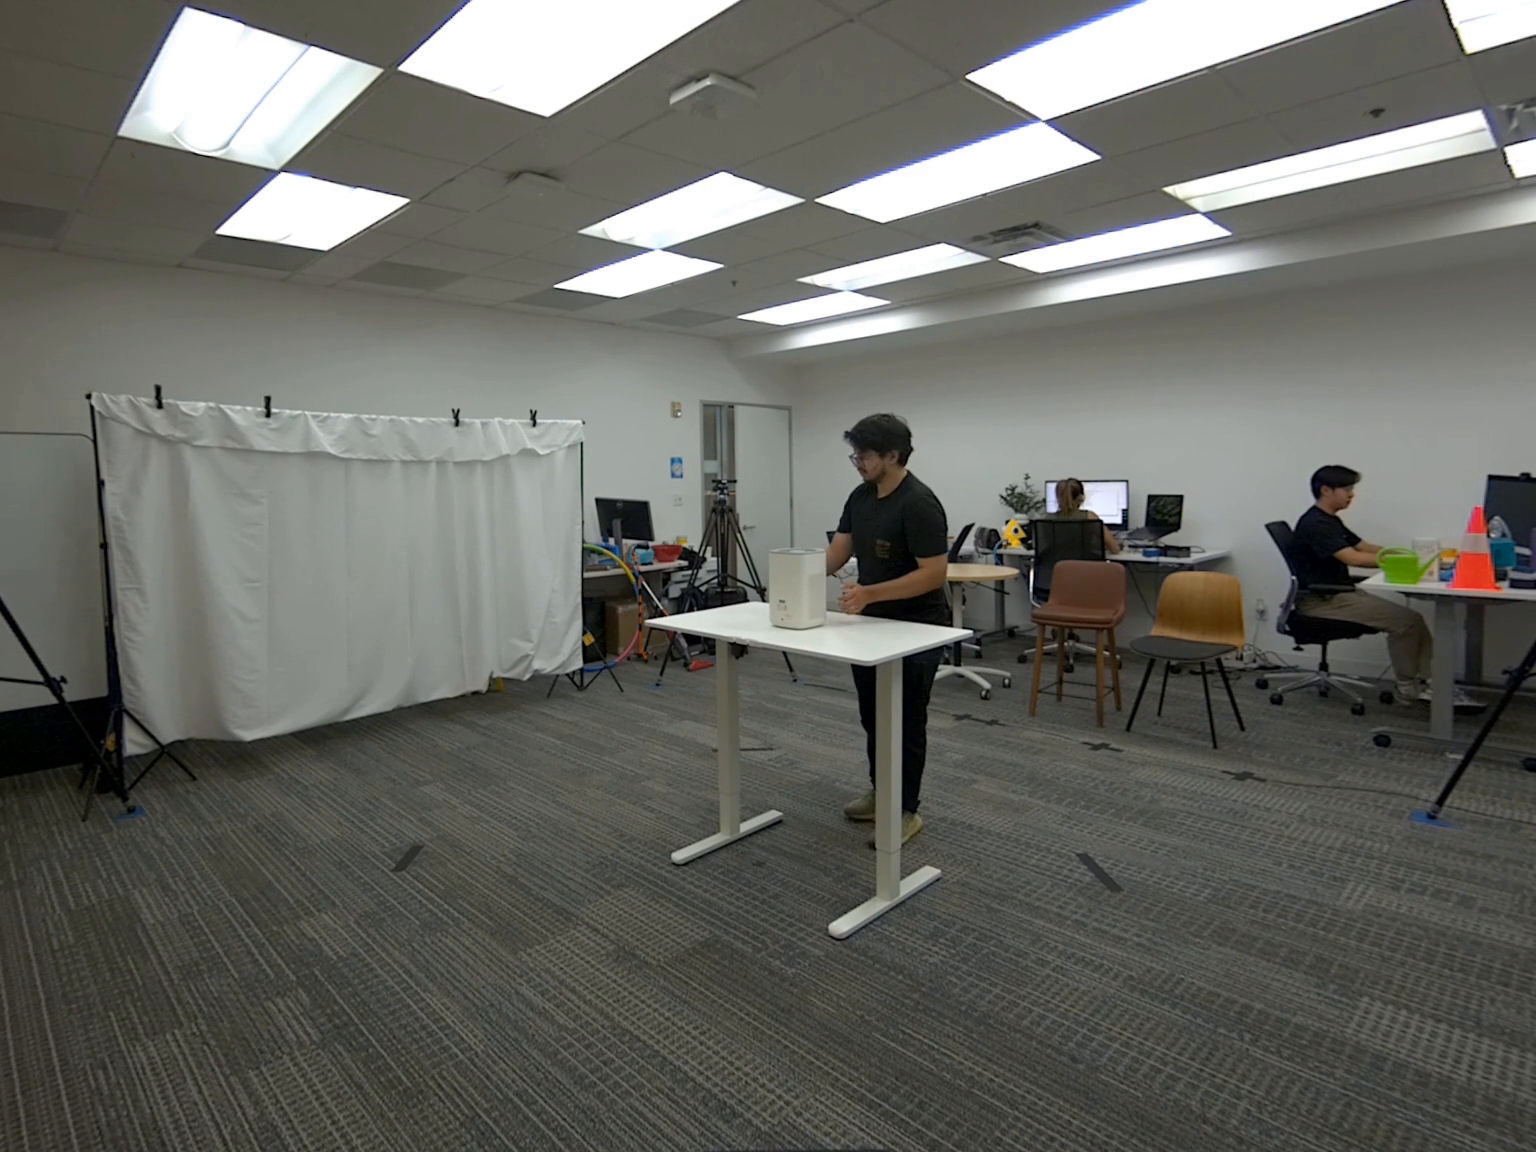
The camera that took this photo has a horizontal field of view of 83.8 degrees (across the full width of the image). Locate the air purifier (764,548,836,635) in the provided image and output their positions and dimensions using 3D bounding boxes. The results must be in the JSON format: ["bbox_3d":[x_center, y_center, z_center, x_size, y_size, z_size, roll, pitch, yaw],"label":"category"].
[{"bbox_3d":[0.111,0.047,2.985,0.176,0.264,0.167,3,6,45],"label":"air purifier"}]
